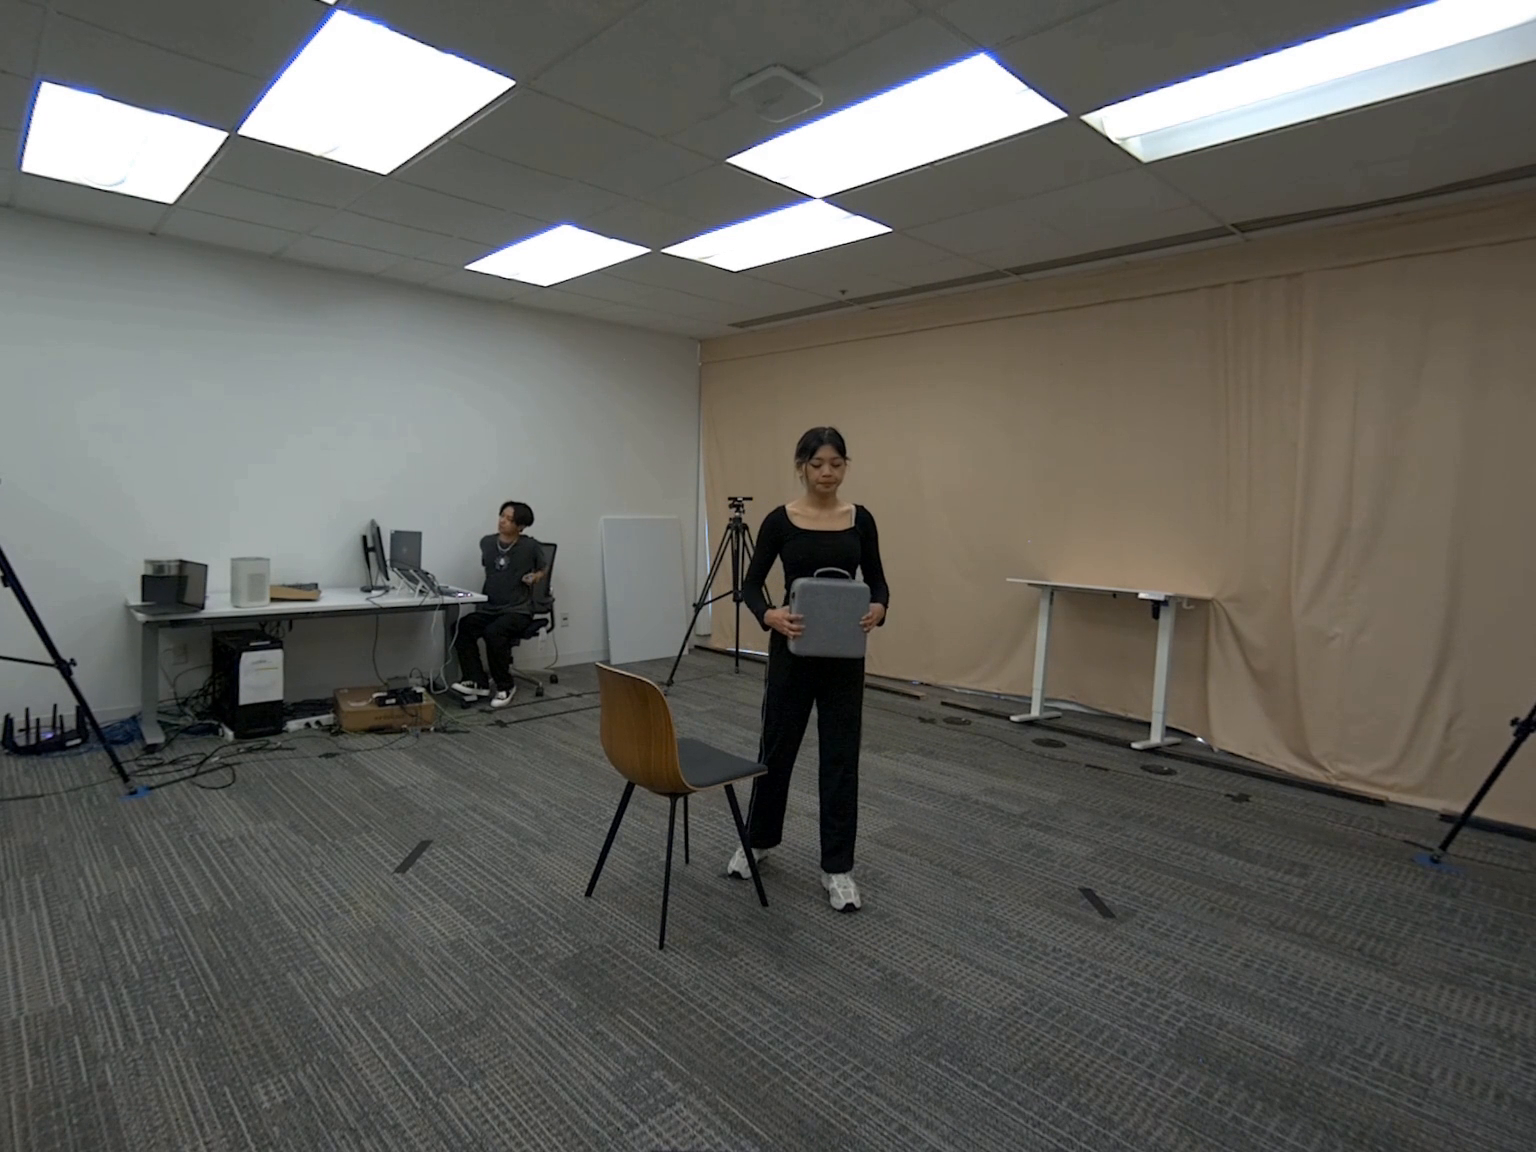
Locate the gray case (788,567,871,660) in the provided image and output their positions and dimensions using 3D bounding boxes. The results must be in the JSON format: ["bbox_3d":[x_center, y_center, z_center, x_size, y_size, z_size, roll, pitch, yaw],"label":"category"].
[{"bbox_3d":[0.195,0.134,2.769,0.256,0.259,0.105,3,7,-4],"label":"gray case"}]
